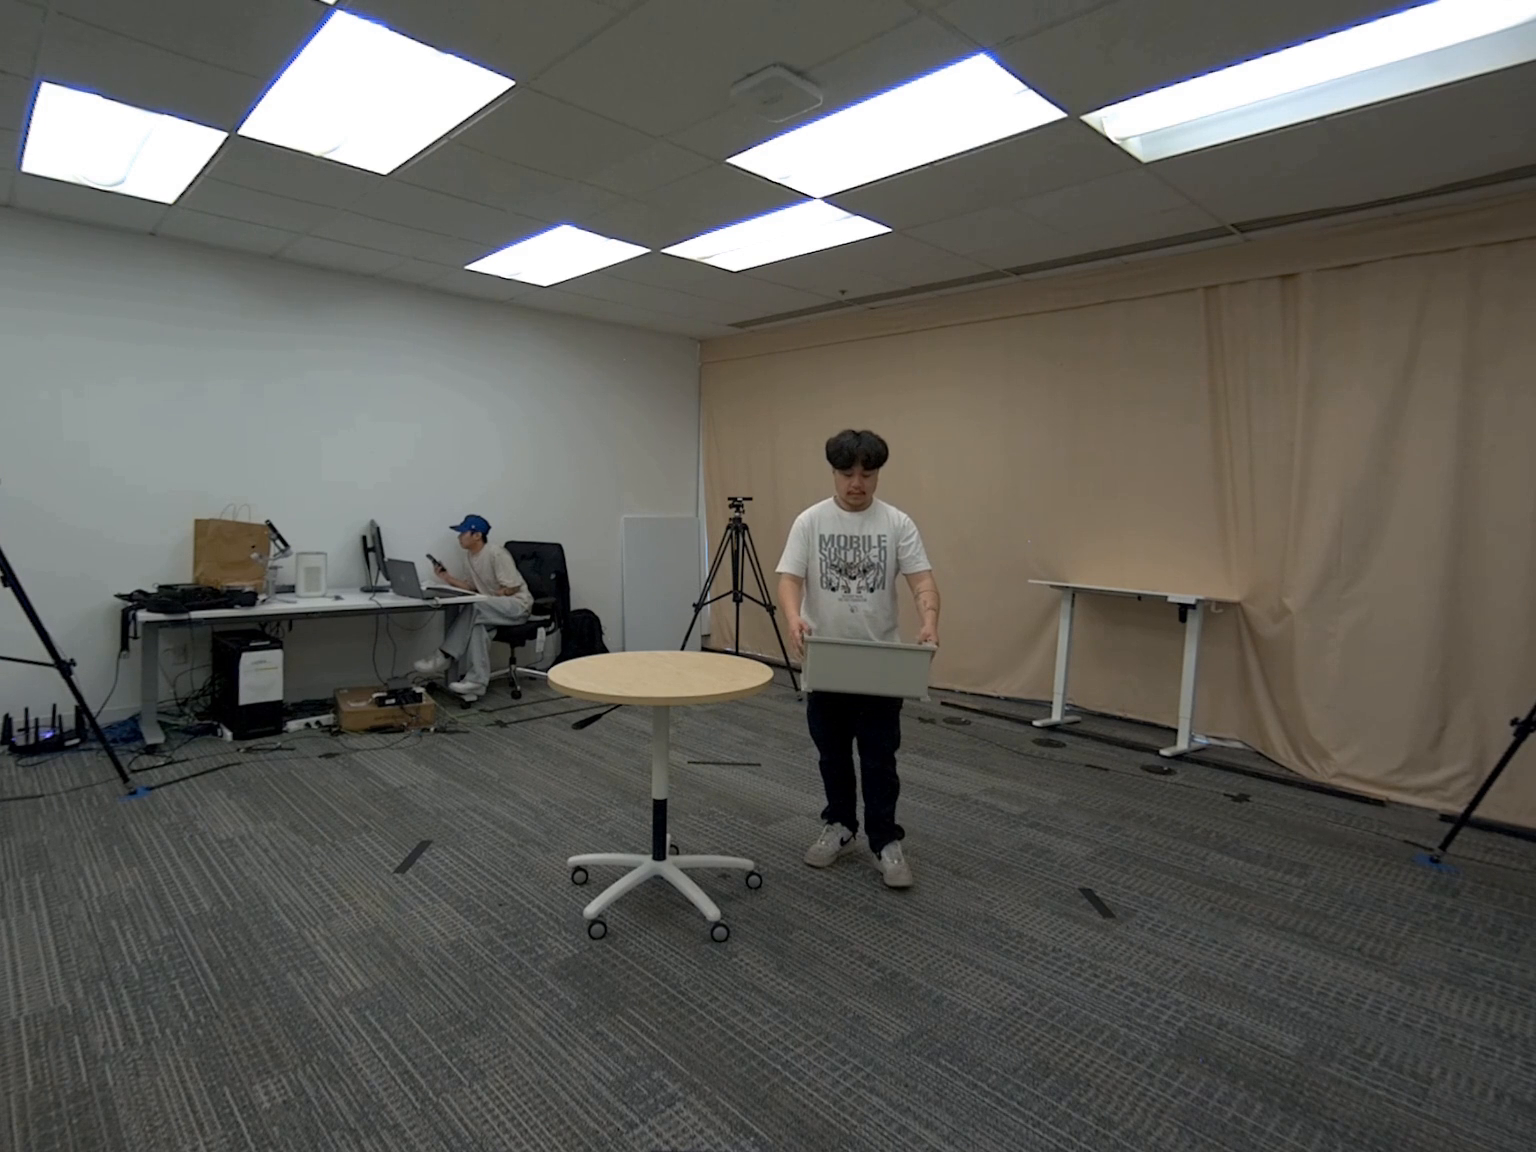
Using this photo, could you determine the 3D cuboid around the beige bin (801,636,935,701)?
[{"bbox_3d":[0.329,0.285,2.872,0.424,0.188,0.377,6,9,5],"label":"beige bin"}]
